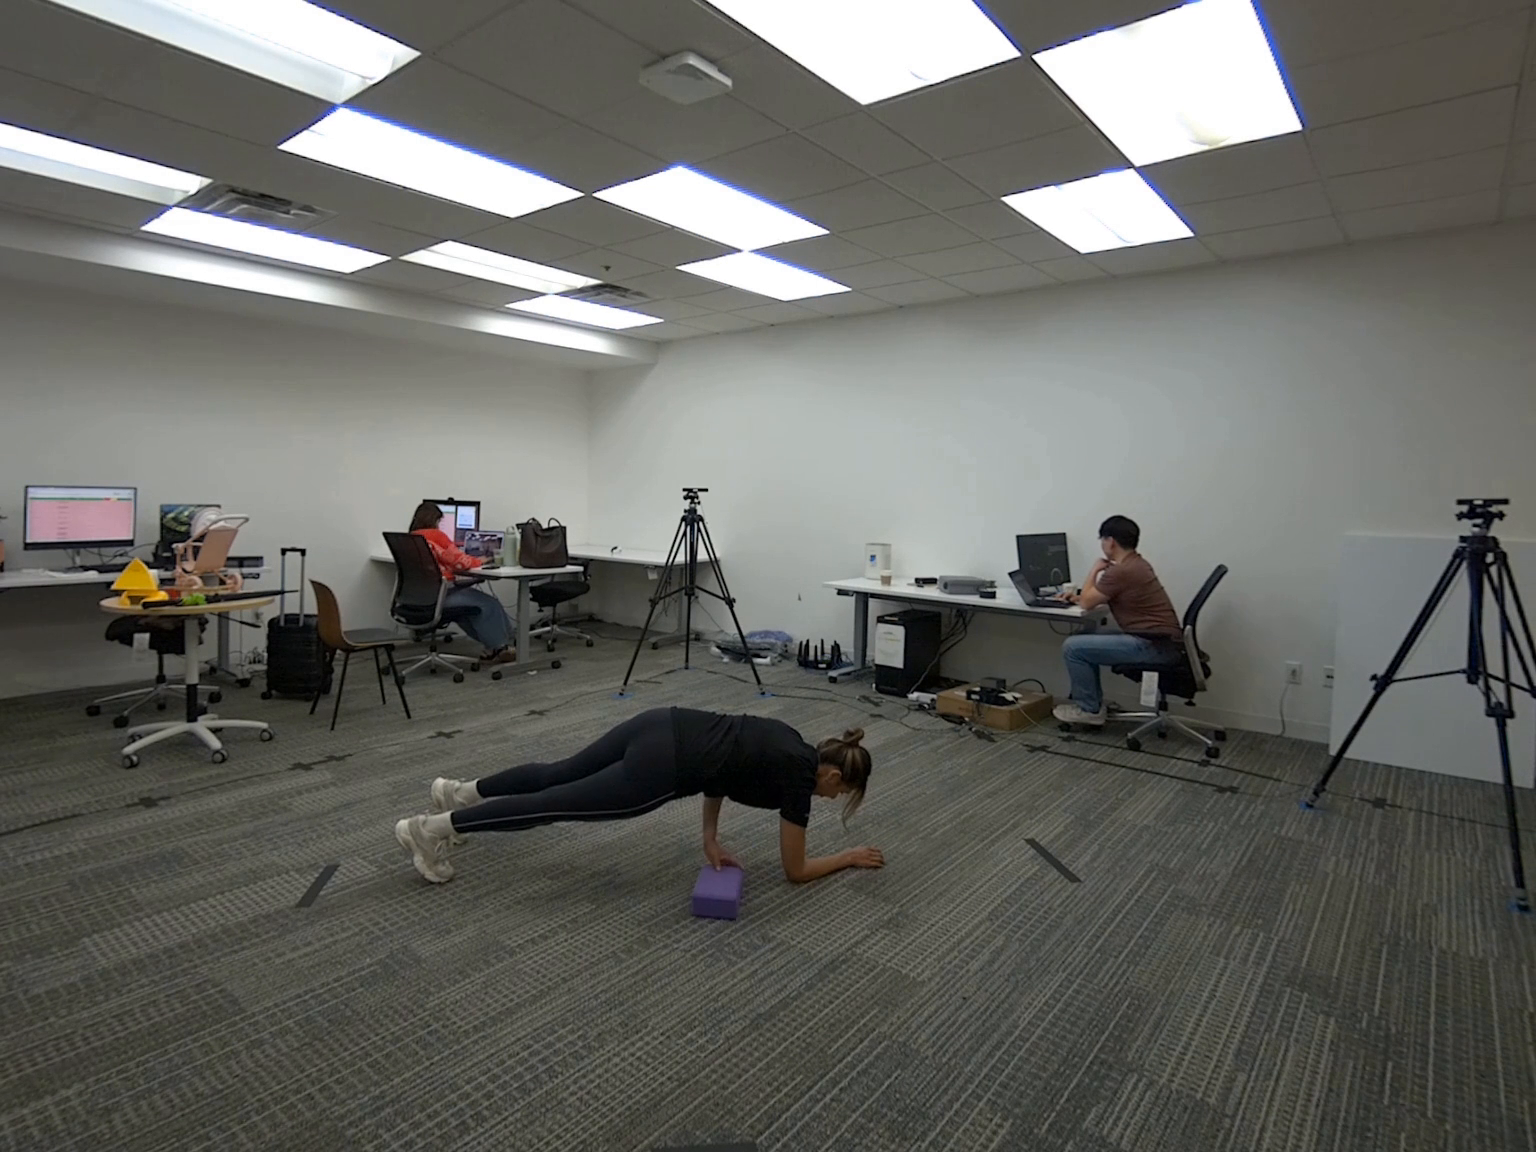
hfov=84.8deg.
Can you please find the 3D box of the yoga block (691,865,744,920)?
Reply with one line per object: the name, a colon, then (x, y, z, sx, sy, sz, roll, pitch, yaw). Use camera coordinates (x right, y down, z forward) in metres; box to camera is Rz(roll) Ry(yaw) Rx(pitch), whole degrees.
yoga block: (-0.175, 1.052, 2.865, 0.150, 0.076, 0.228, 0, 4, 4)
